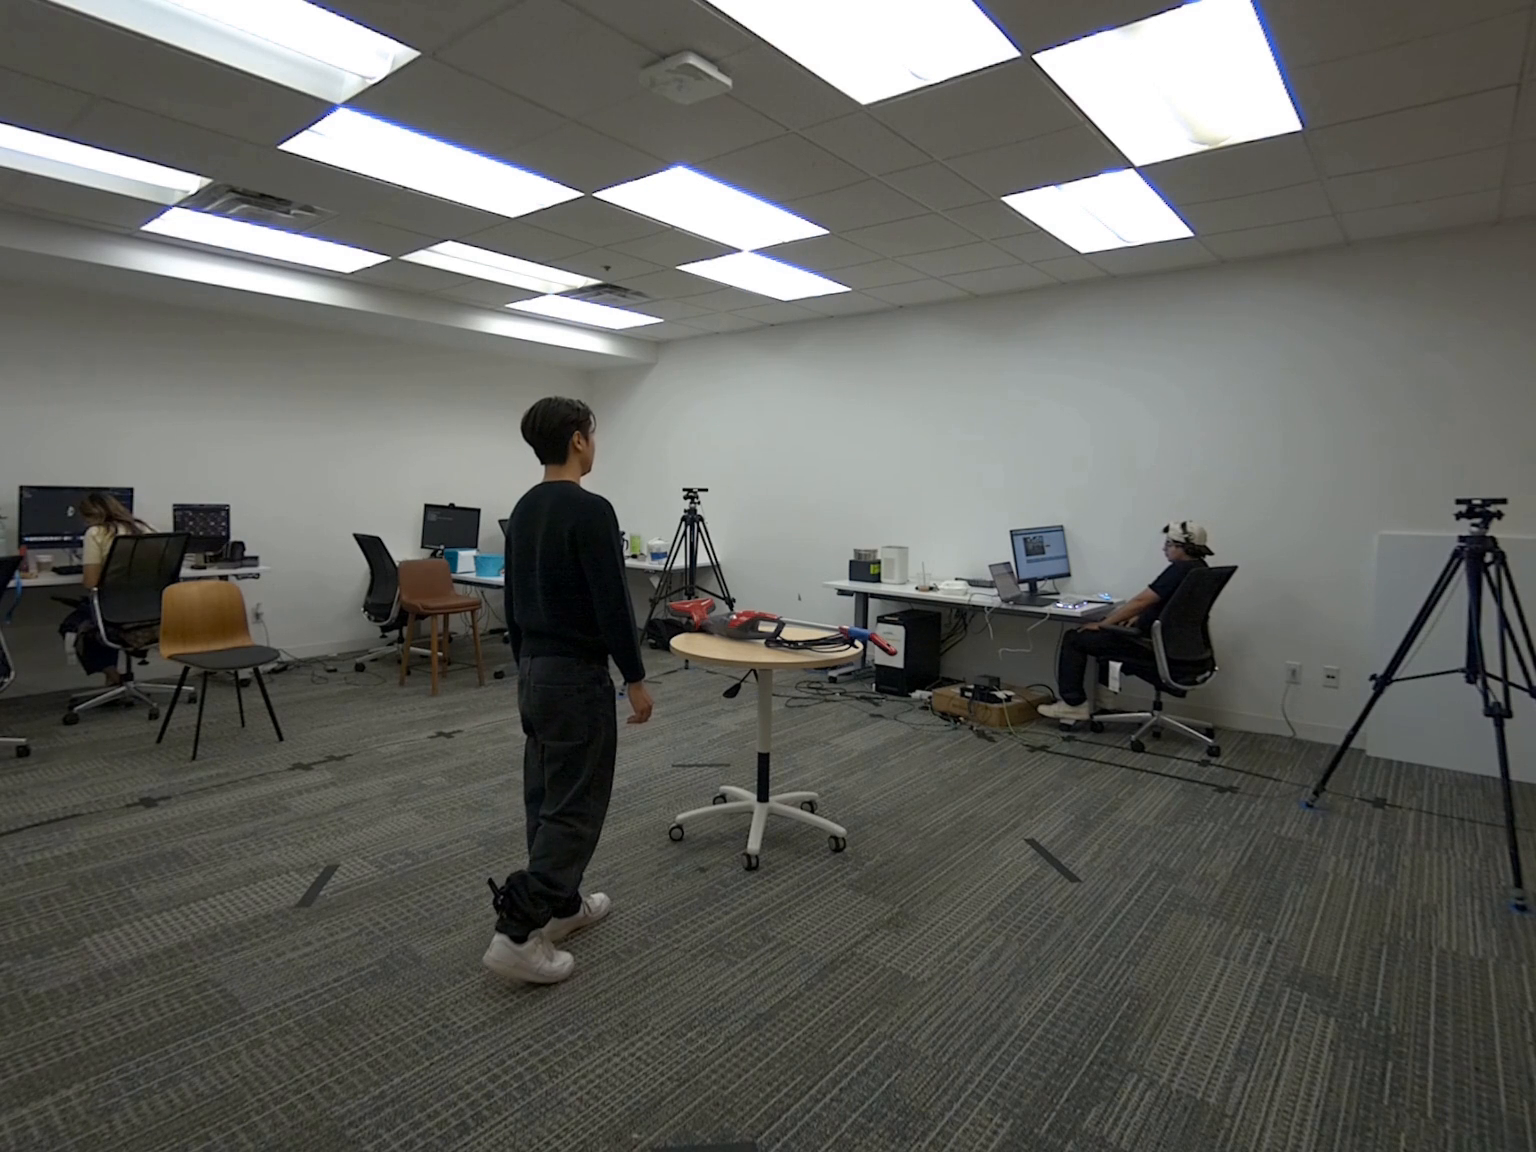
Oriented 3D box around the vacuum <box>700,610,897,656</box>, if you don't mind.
[{"bbox_3d":[0.038,0.223,3.282,0.245,0.143,1.086,-6,9,-43],"label":"vacuum"}]
